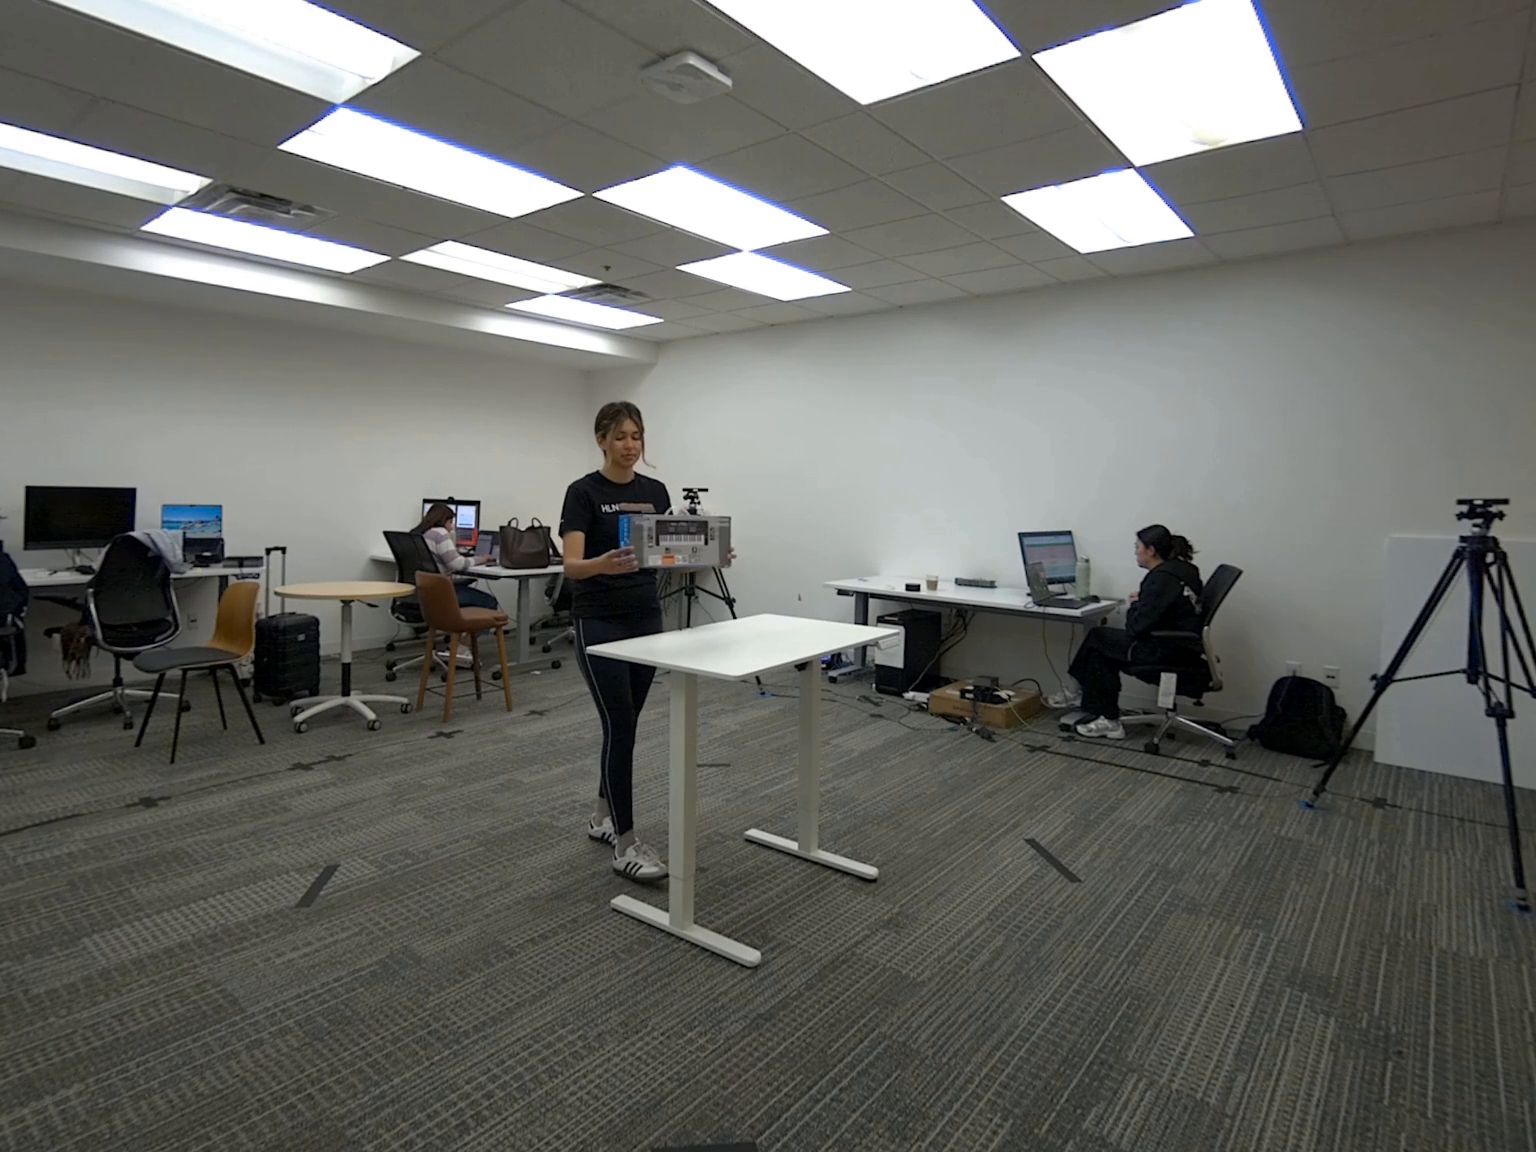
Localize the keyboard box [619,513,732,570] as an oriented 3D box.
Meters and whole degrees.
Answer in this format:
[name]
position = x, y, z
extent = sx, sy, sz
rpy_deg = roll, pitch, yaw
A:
[keyboard box]
position = -0.323, -0.116, 2.893
extent = 0.423, 0.176, 0.061
rpy_deg = -2, 1, -41
